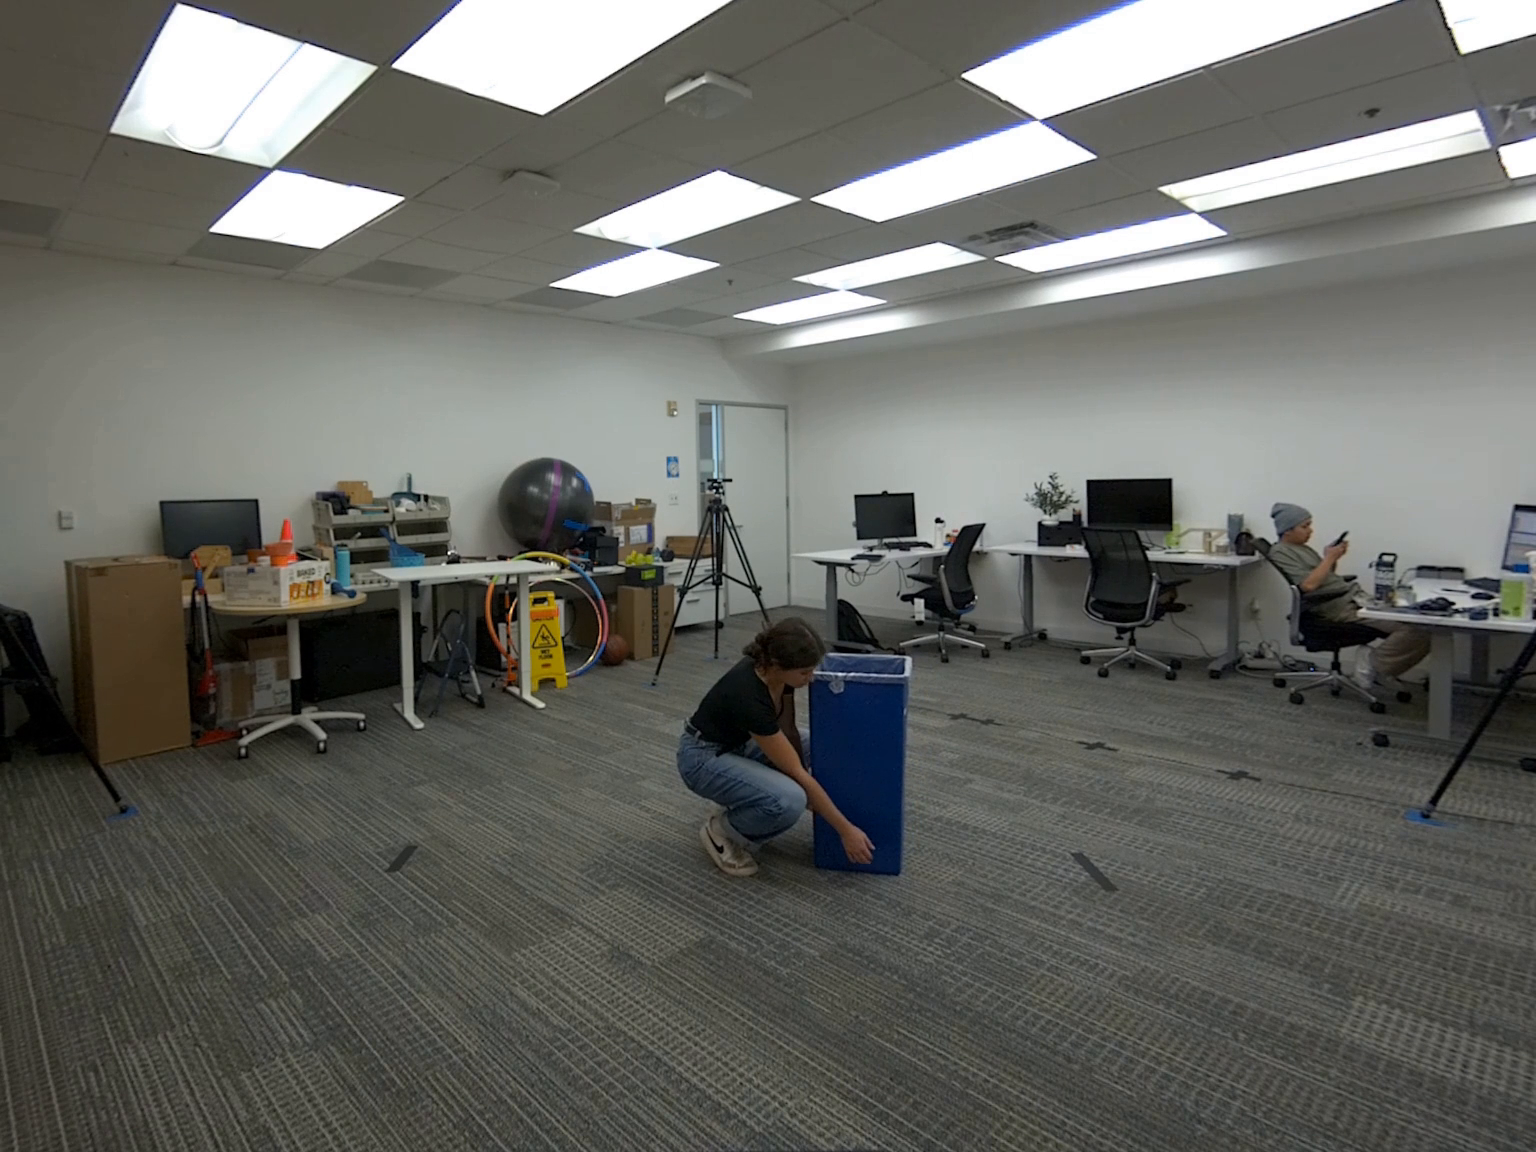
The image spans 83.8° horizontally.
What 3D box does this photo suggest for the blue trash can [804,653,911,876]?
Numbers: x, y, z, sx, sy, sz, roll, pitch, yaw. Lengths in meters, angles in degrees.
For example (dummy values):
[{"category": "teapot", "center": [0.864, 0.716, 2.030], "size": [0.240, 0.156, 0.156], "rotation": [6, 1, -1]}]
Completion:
[{"category": "blue trash can", "center": [0.336, 0.671, 3.154], "size": [0.383, 0.711, 0.370], "rotation": [0, 4, 14]}]
